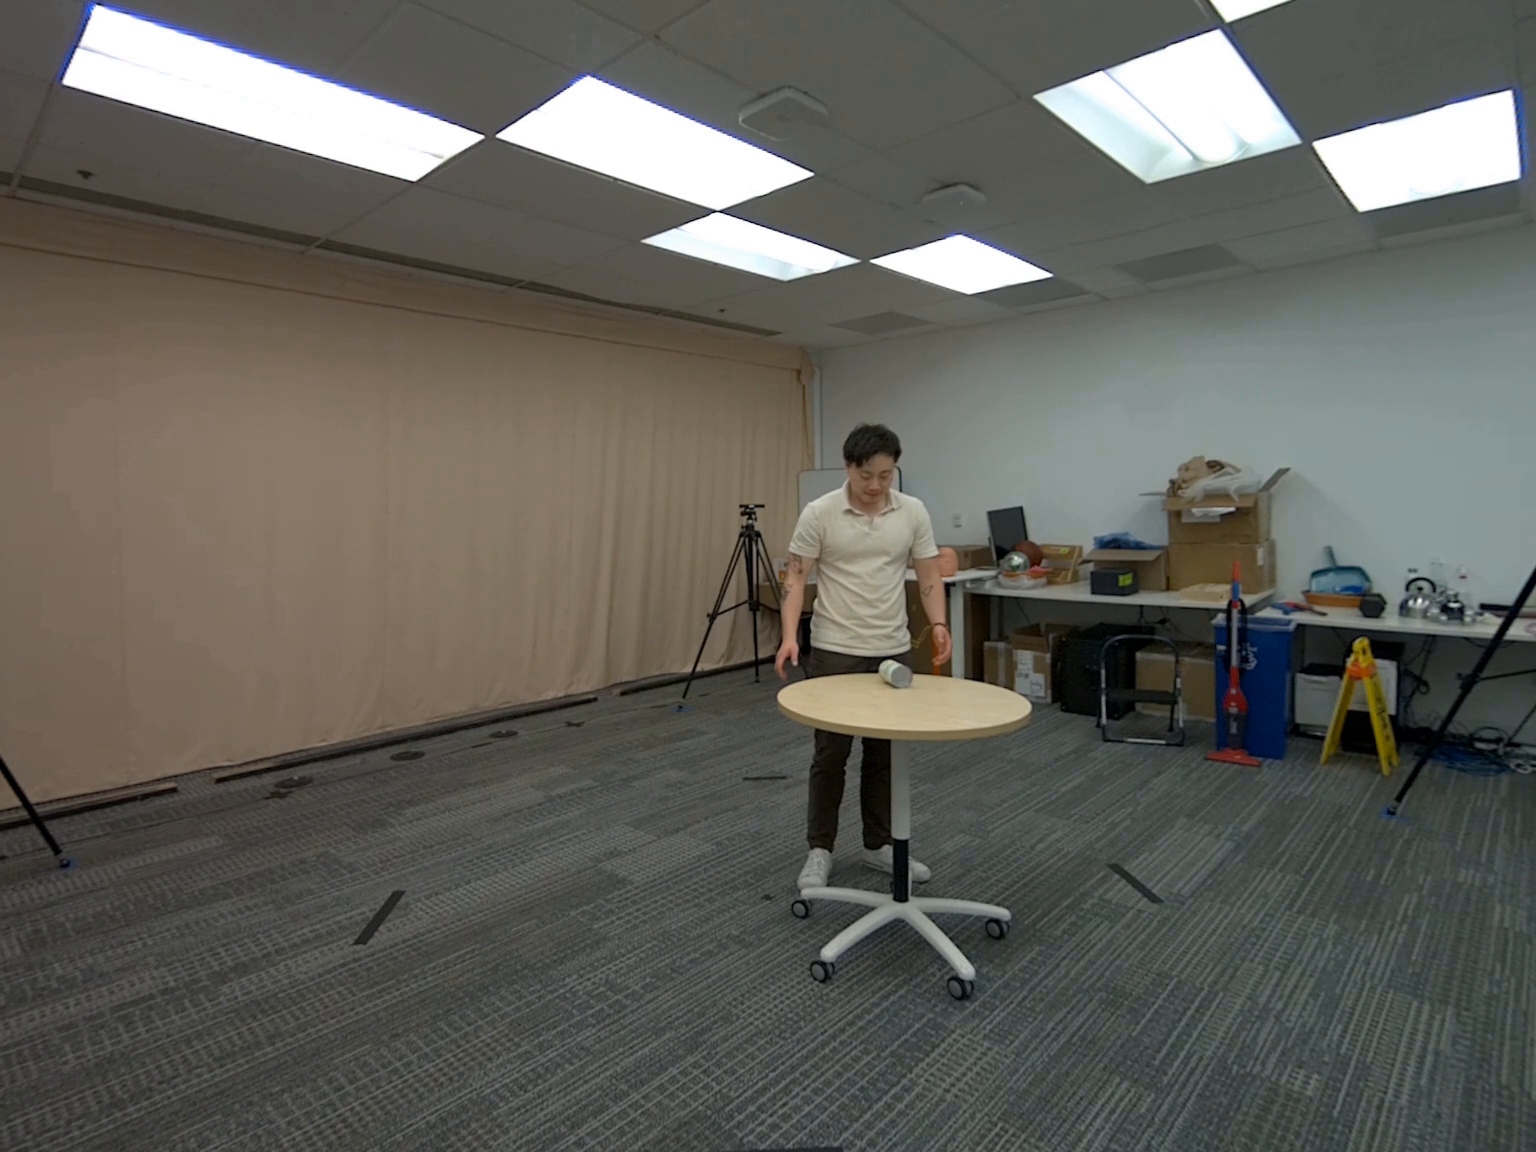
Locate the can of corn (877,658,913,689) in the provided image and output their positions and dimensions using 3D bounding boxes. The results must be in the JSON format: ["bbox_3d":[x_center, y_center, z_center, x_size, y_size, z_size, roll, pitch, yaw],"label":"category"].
[{"bbox_3d":[0.420,0.324,2.804,0.073,0.074,0.112,-1,4,-9],"label":"can of corn"}]
